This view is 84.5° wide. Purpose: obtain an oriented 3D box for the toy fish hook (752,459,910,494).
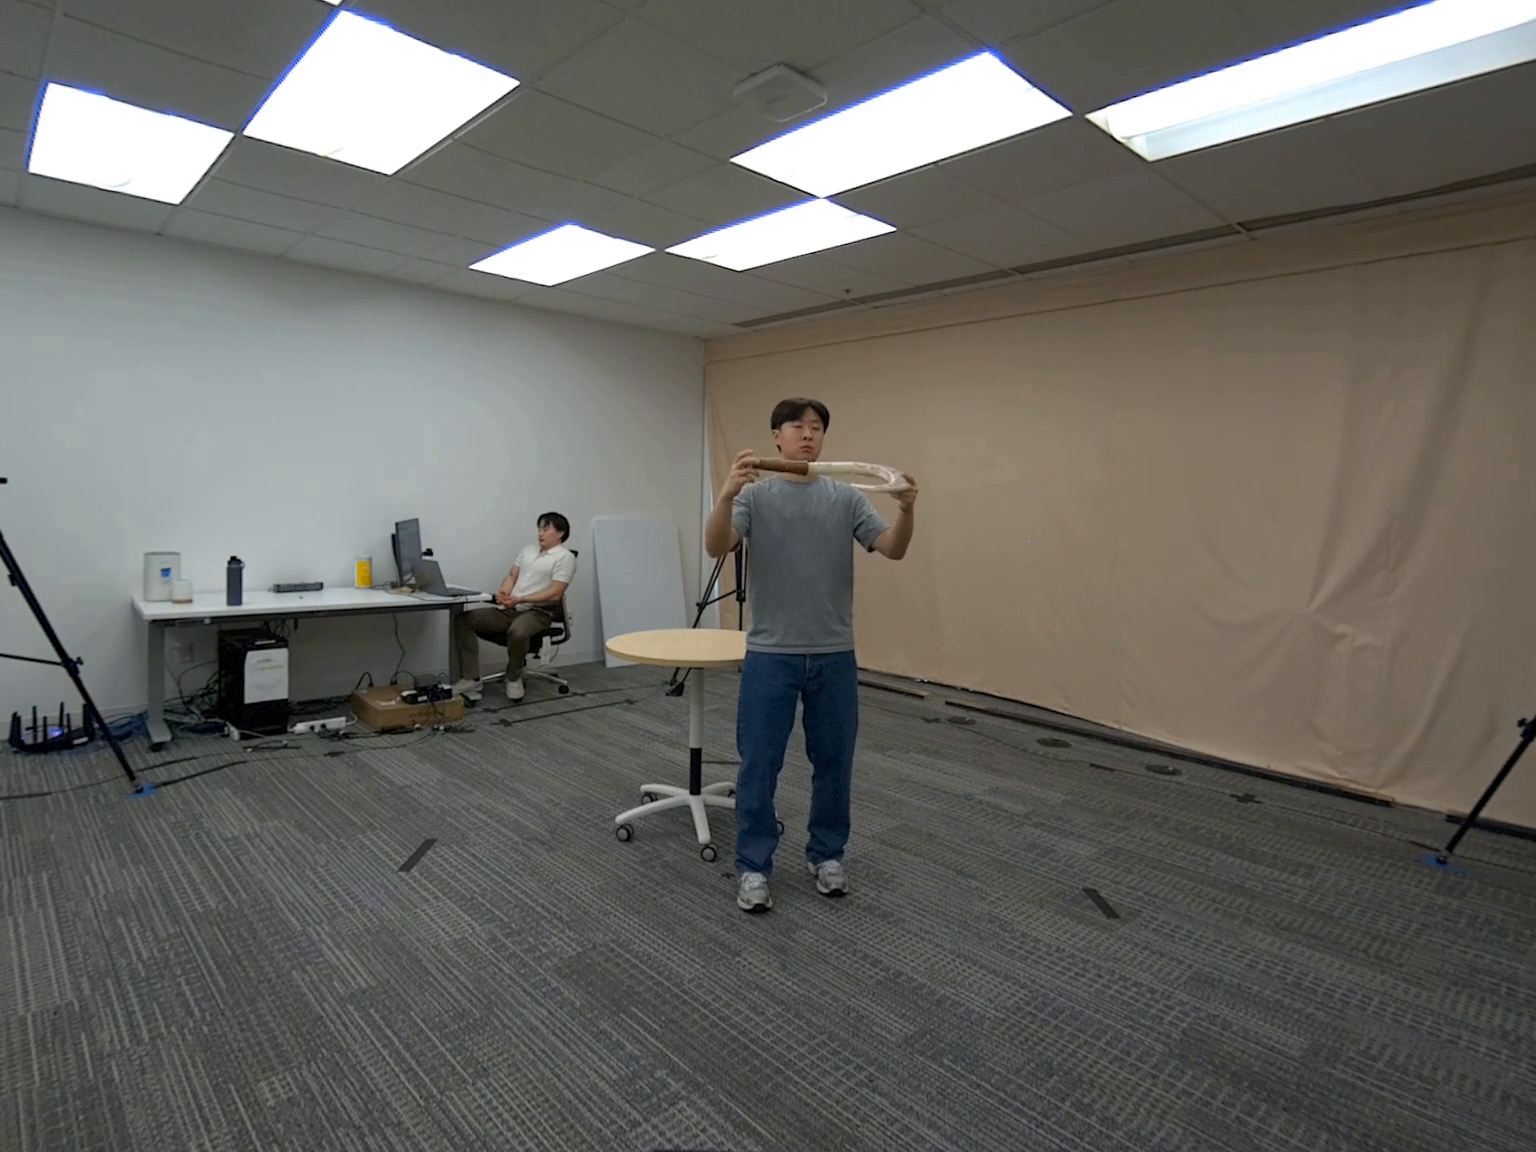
[{"bbox_3d":[0.170,-0.315,2.572,0.503,0.048,0.229,3,20,-7],"label":"toy fish hook"}]
